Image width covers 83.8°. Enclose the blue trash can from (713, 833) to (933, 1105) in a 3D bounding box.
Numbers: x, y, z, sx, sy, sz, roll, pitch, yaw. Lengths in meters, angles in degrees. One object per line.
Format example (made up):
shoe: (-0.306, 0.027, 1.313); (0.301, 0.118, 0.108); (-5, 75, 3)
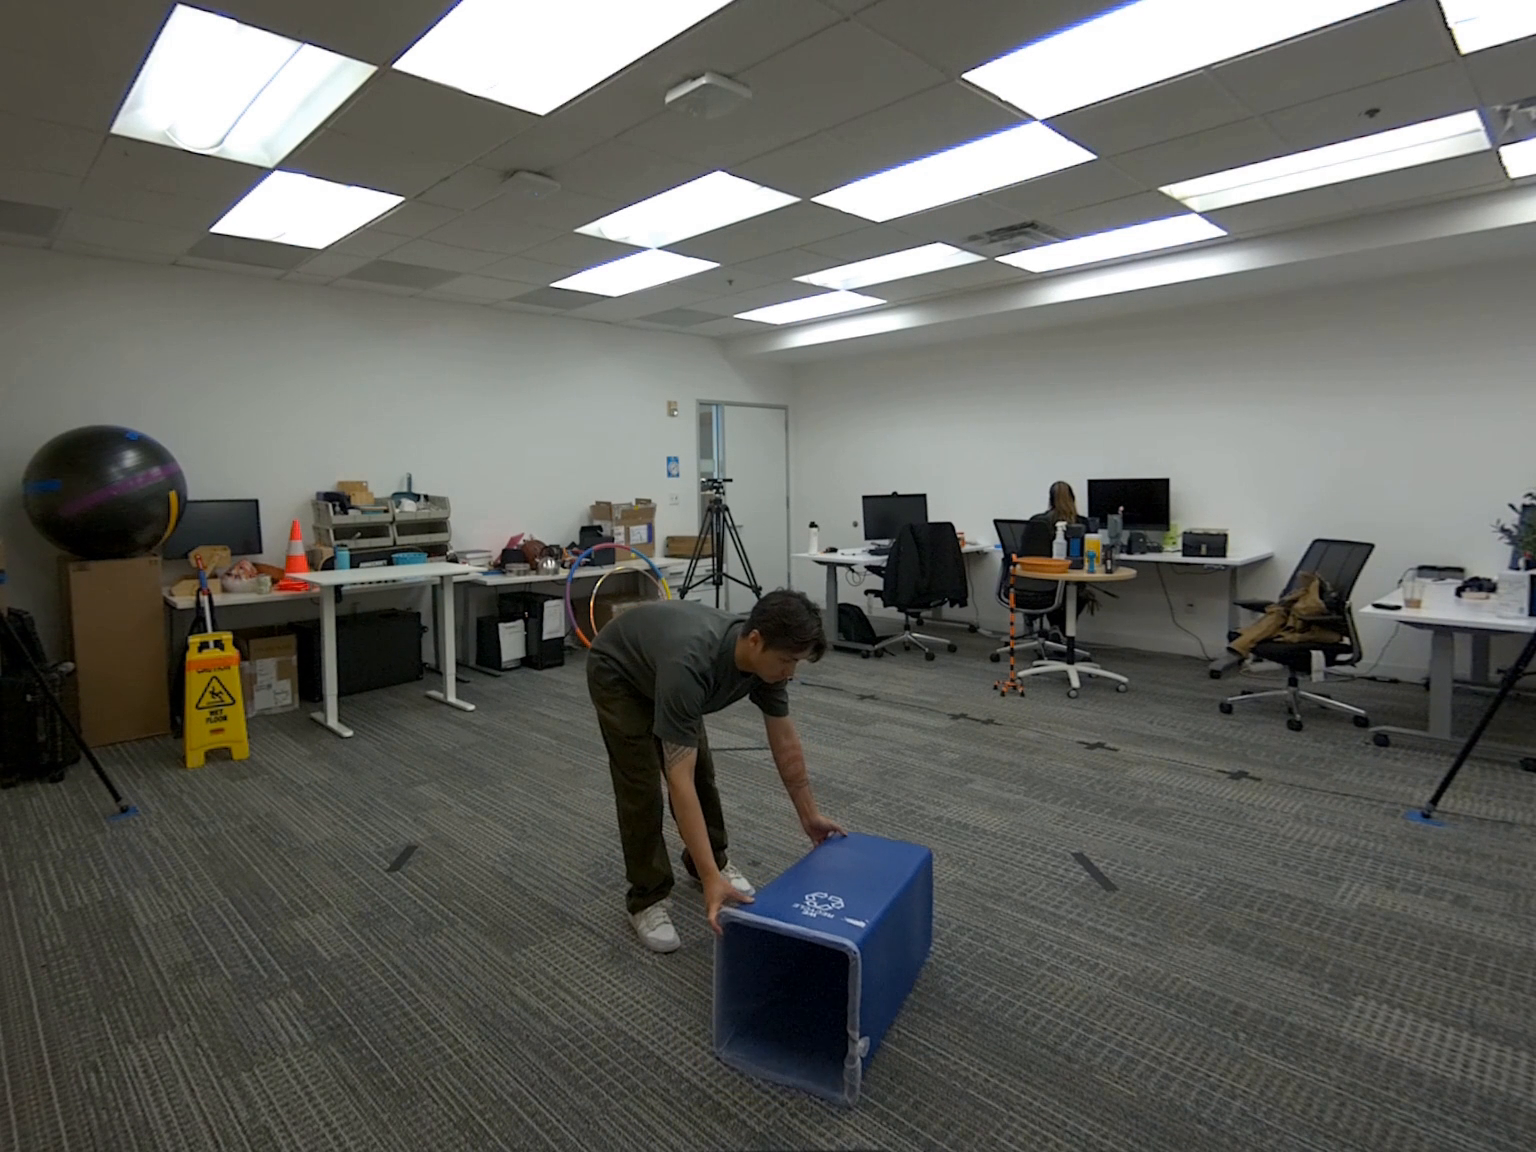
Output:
blue trash can: (0.191, 0.962, 2.278); (0.387, 0.373, 0.698); (1, 4, 28)
